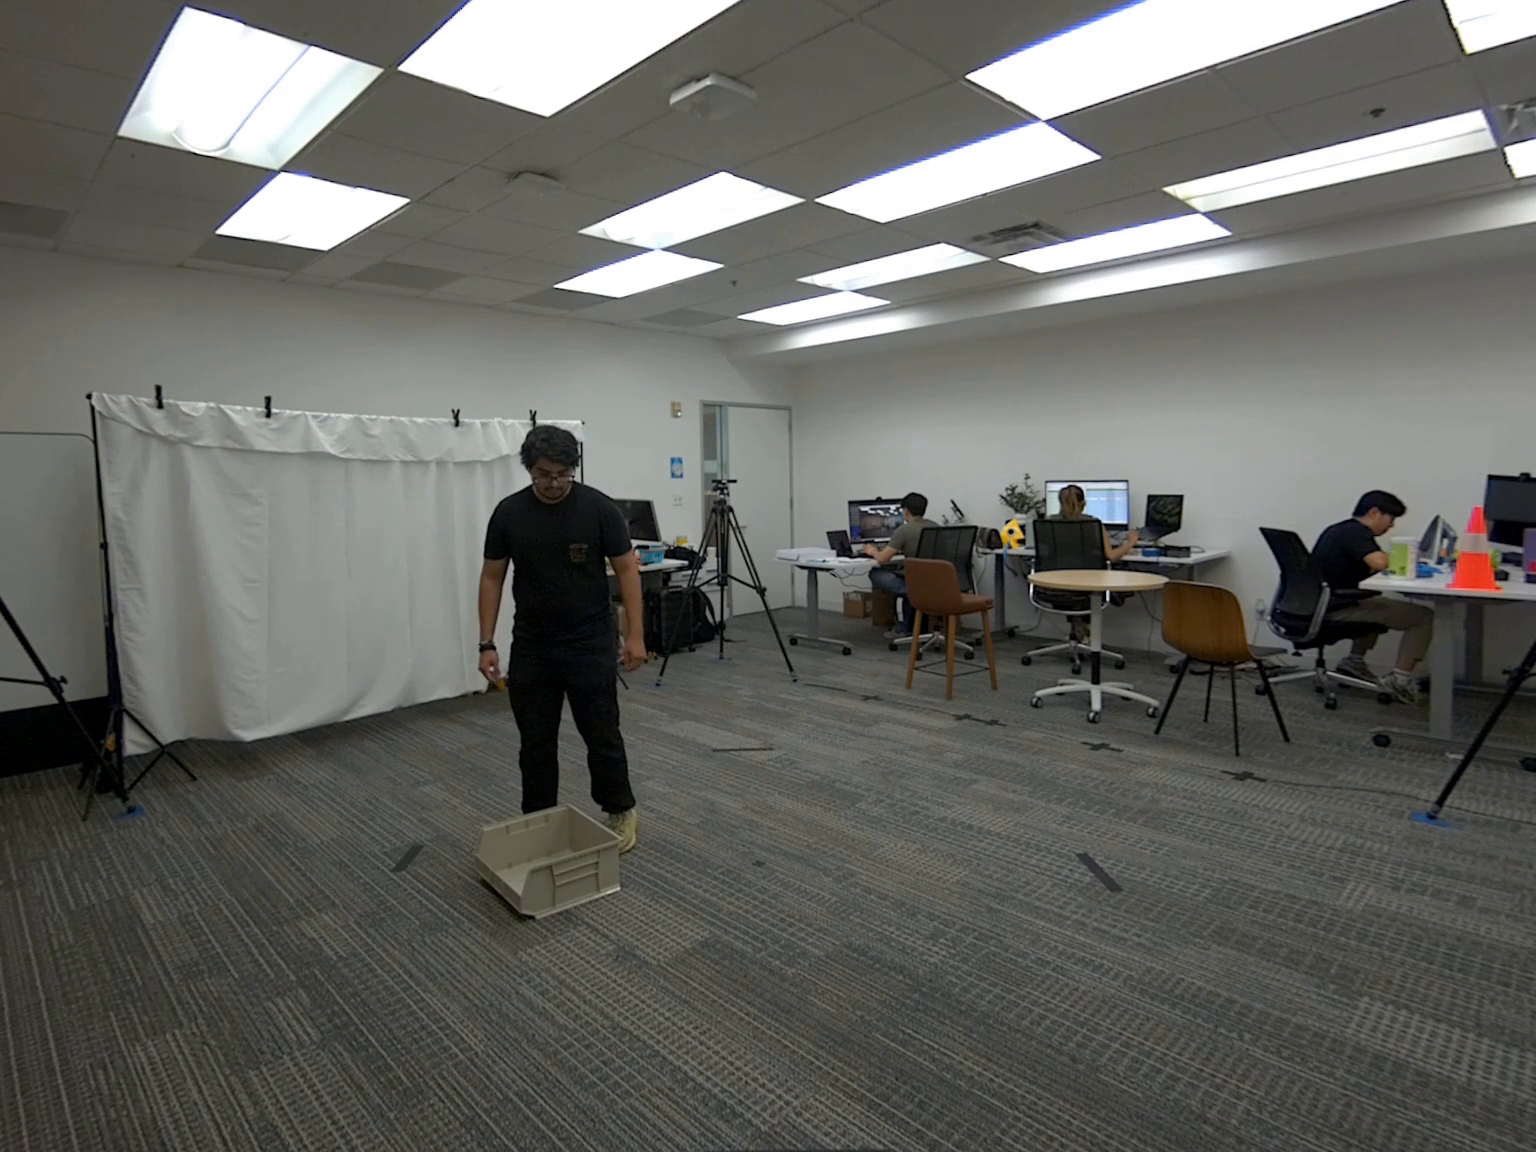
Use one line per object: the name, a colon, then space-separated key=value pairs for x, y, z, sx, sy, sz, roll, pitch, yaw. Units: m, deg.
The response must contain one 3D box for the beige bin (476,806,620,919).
beige bin: x=-0.770 y=0.989 z=2.981 sx=0.367 sy=0.188 sz=0.435 roll=-5 pitch=6 yaw=-38
